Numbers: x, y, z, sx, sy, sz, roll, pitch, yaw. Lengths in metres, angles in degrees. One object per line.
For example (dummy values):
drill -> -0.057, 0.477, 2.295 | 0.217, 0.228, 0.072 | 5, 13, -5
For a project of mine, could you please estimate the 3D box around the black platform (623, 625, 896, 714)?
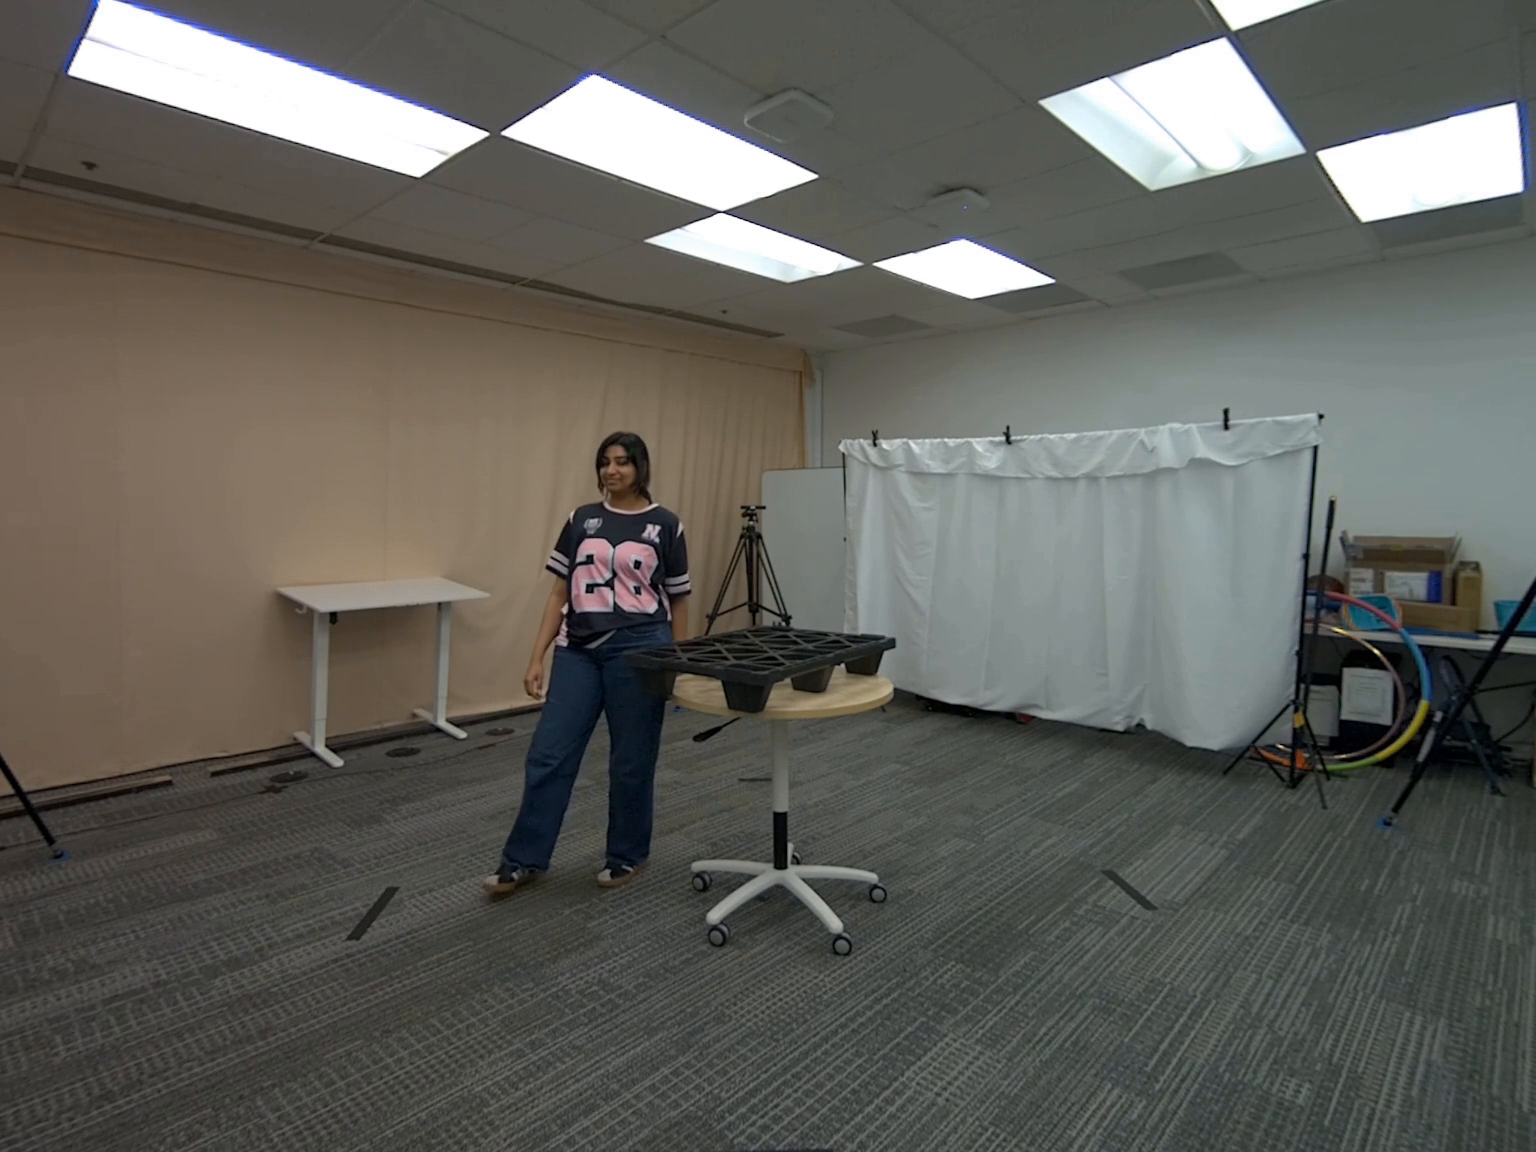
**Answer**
black platform -> -0.022, 0.308, 2.879 | 0.625, 0.143, 0.781 | 2, 5, 39
